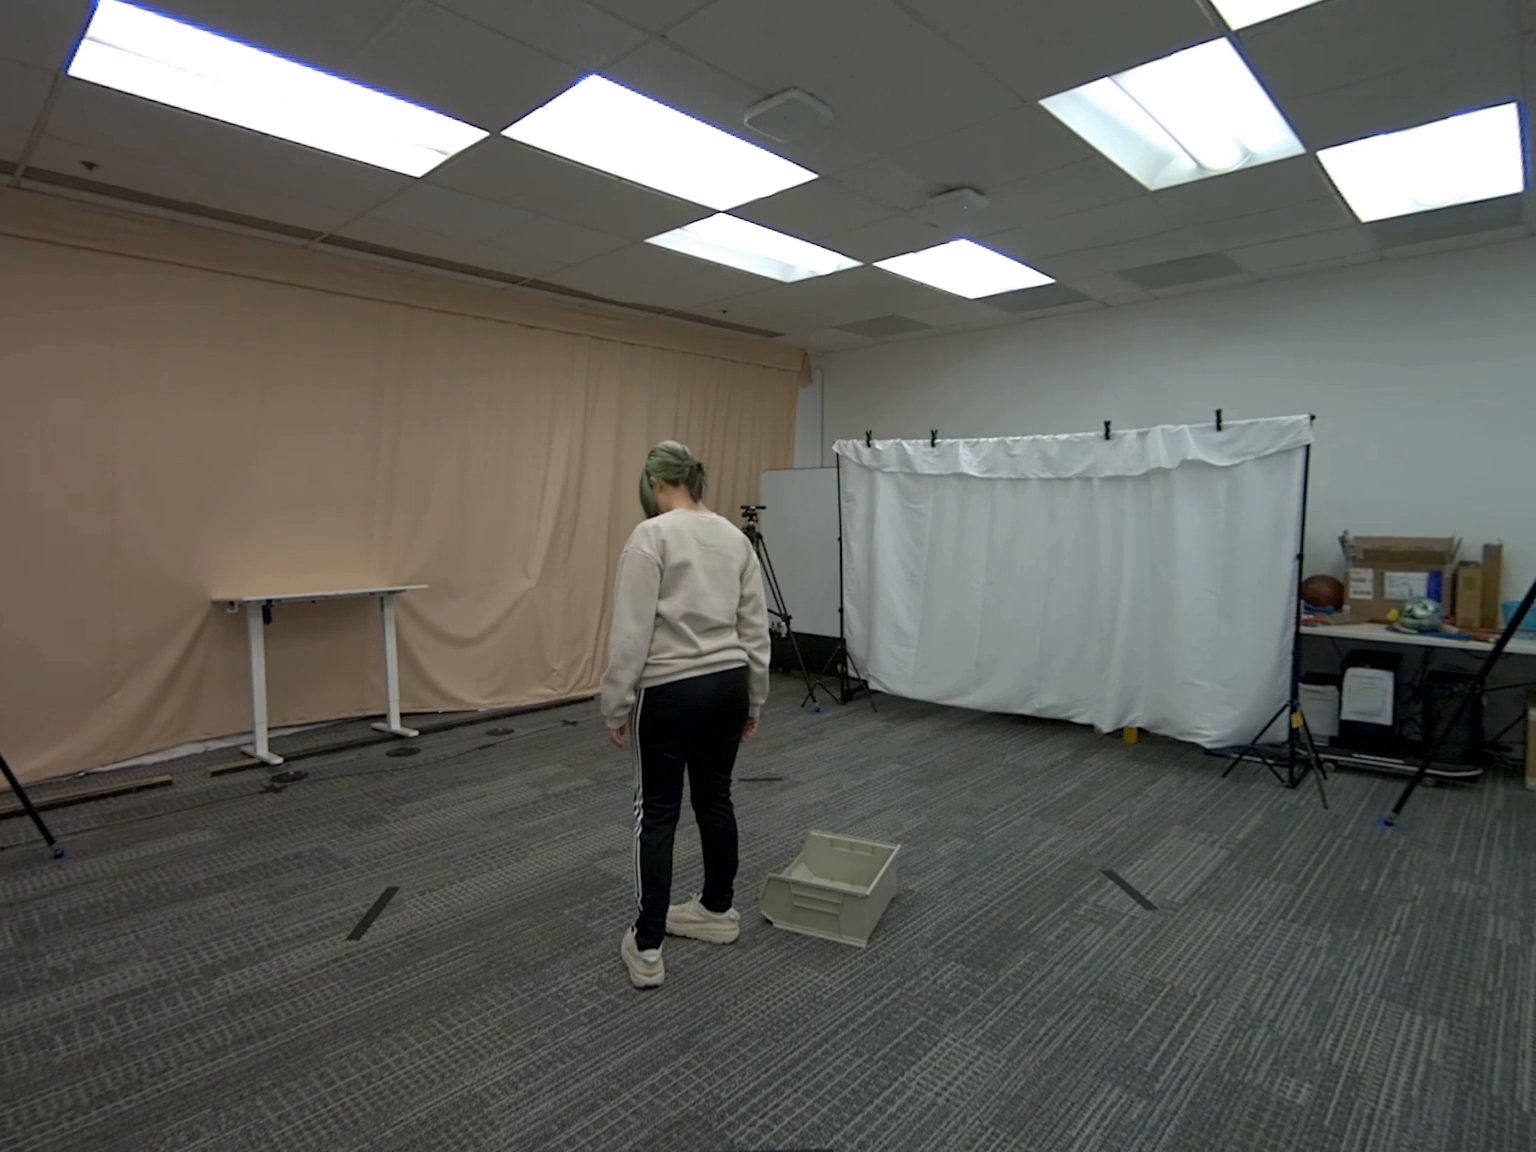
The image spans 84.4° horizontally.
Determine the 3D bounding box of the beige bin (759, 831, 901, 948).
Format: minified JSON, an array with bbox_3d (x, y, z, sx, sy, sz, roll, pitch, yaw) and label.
[{"bbox_3d":[0.225,1.061,2.902,0.387,0.188,0.413,3,5,24],"label":"beige bin"}]
